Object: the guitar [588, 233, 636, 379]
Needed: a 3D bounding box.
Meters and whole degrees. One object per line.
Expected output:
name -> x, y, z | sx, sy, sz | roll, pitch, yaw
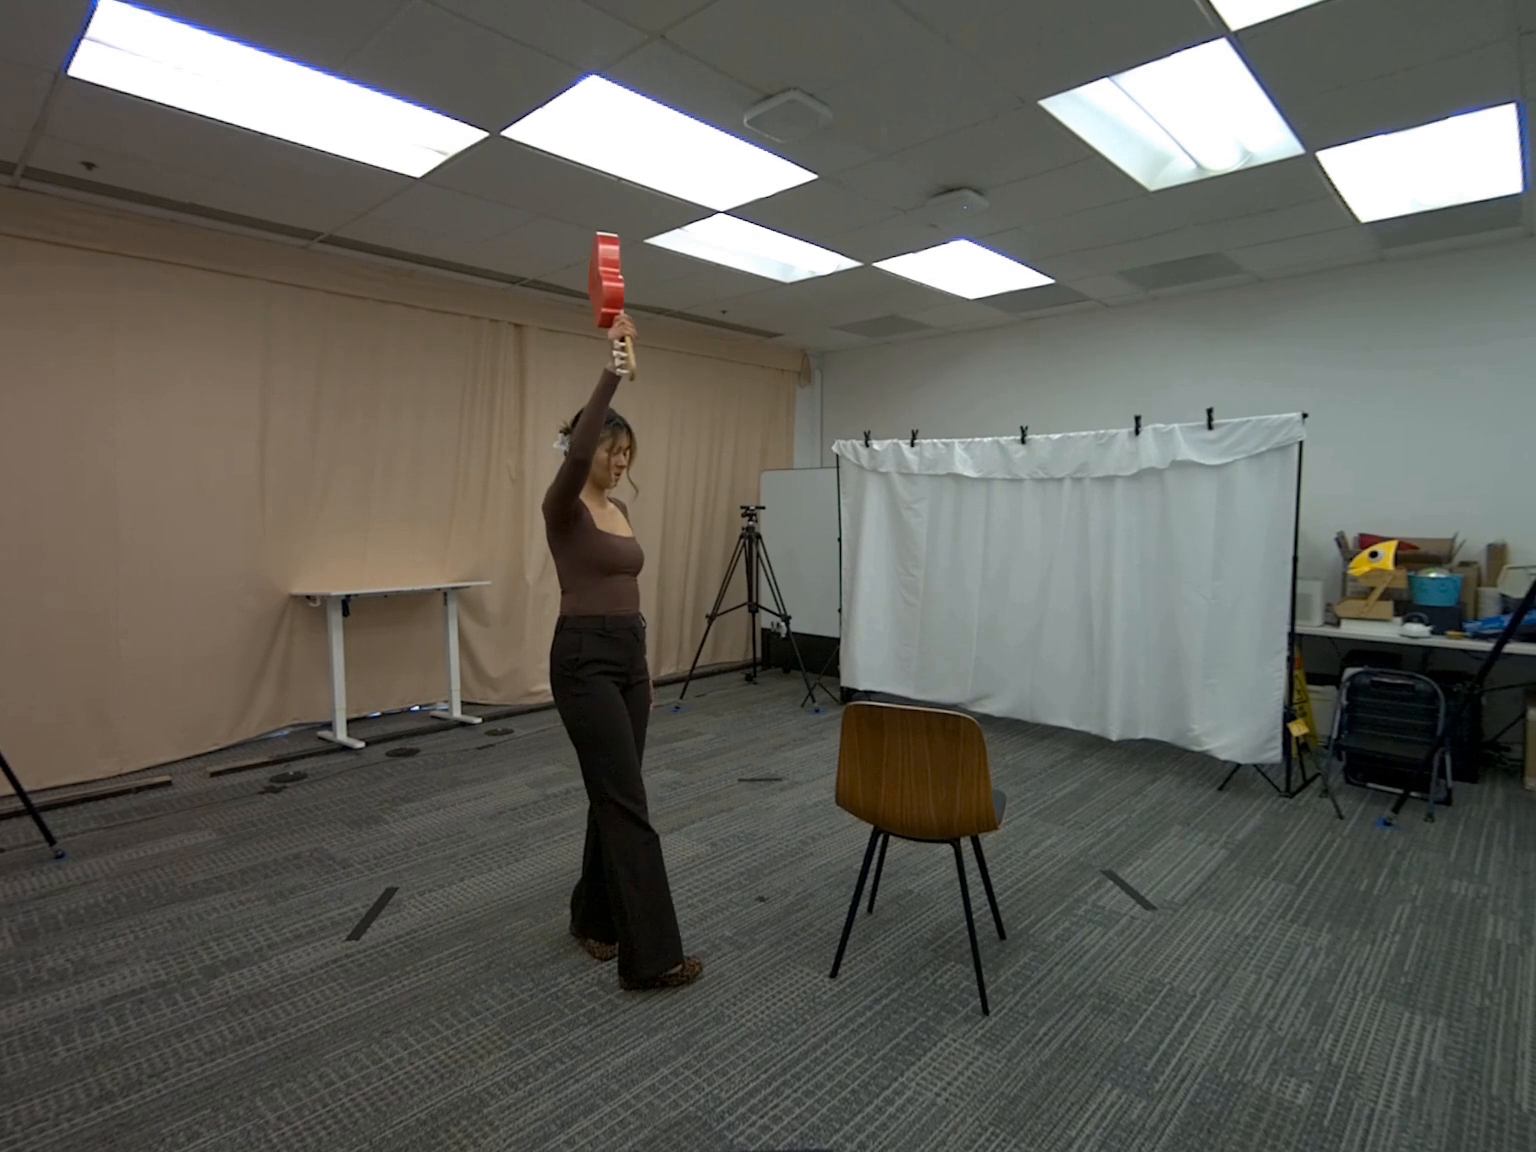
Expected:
guitar -> -0.405, -0.725, 2.222 | 0.069, 0.191, 0.512 | -3, 47, -19
